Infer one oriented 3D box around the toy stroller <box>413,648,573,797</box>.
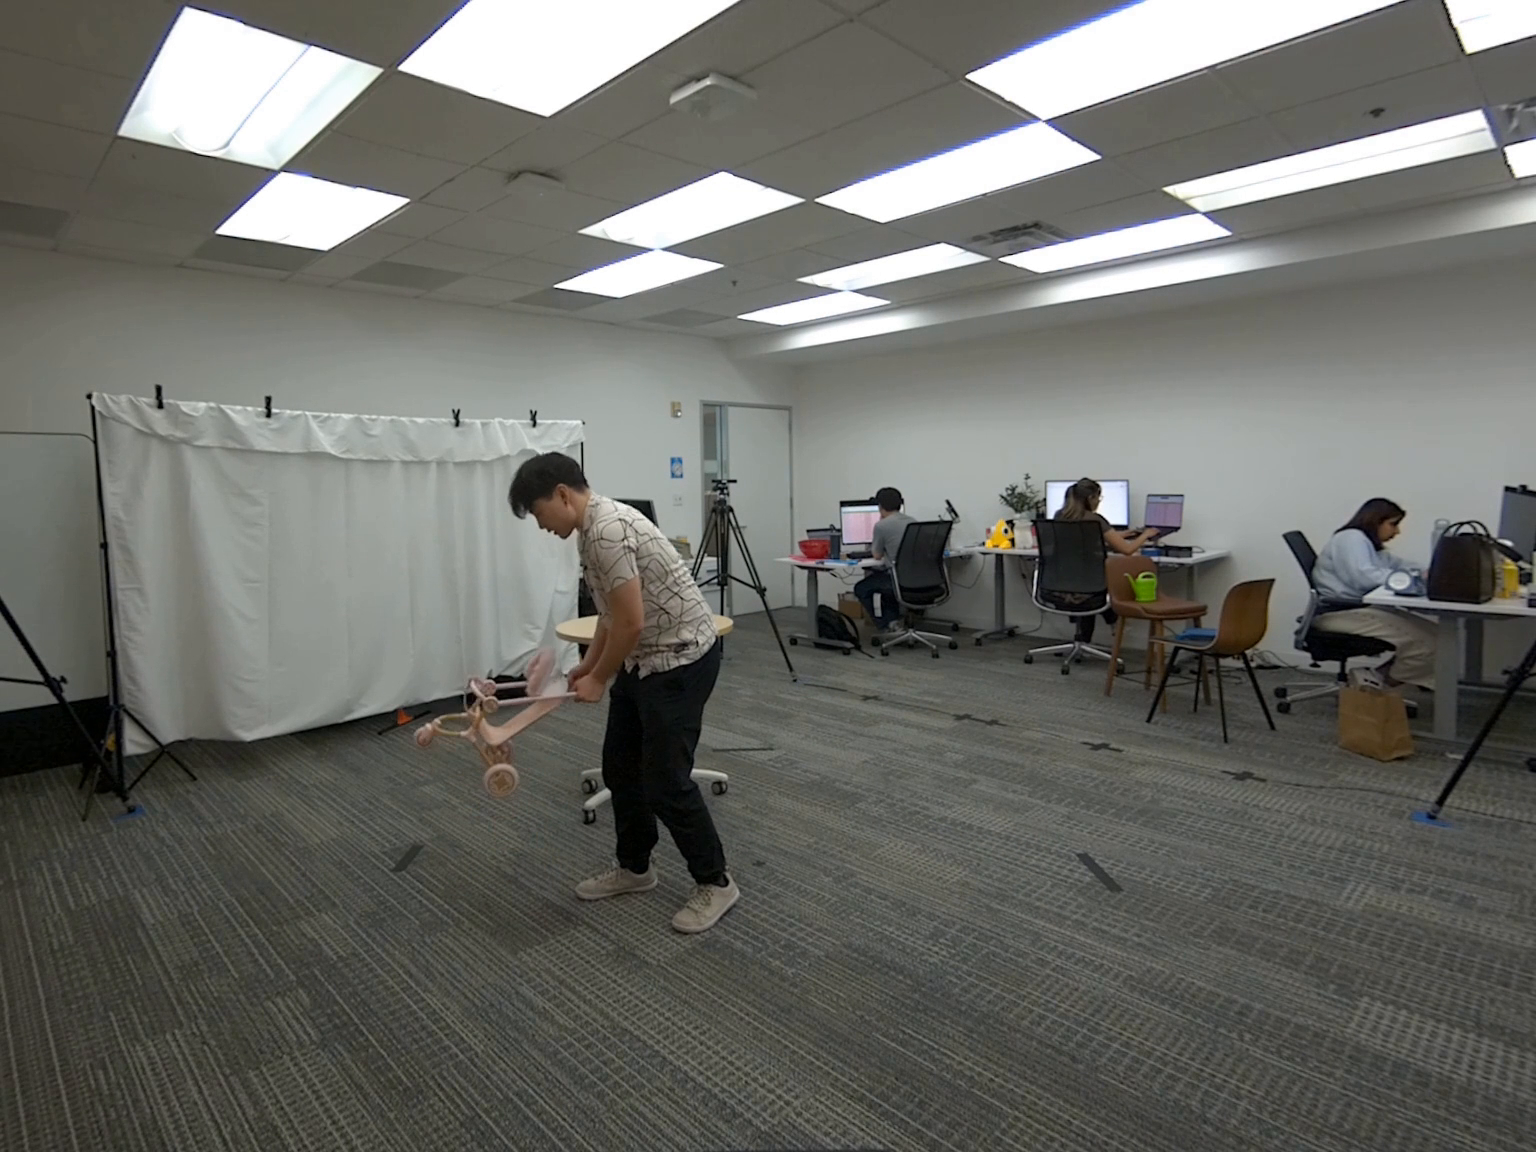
[{"bbox_3d":[-0.827,0.432,2.732,0.535,0.336,0.286,-46,13,-7],"label":"toy stroller"}]
